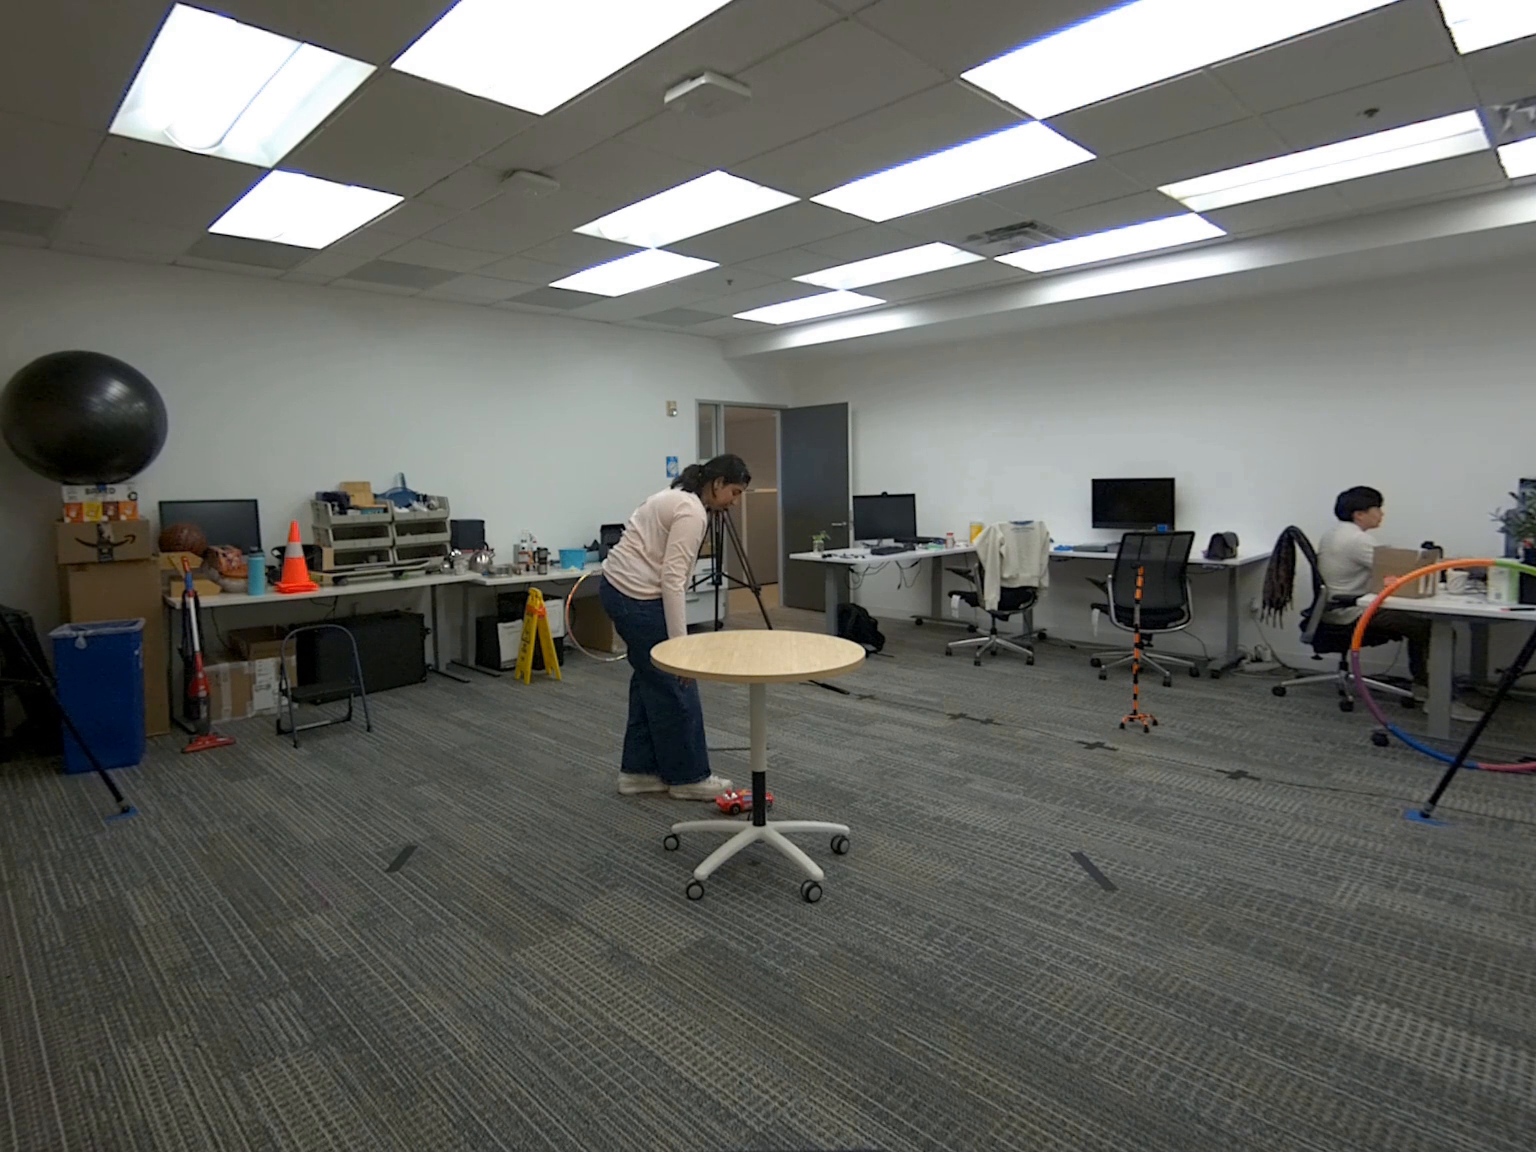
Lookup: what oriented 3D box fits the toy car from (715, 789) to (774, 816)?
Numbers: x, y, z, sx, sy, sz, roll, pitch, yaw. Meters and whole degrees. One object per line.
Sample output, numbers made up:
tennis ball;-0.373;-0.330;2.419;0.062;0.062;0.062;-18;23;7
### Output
toy car;-0.109;0.955;3.623;0.250;0.083;0.133;9;1;-18
